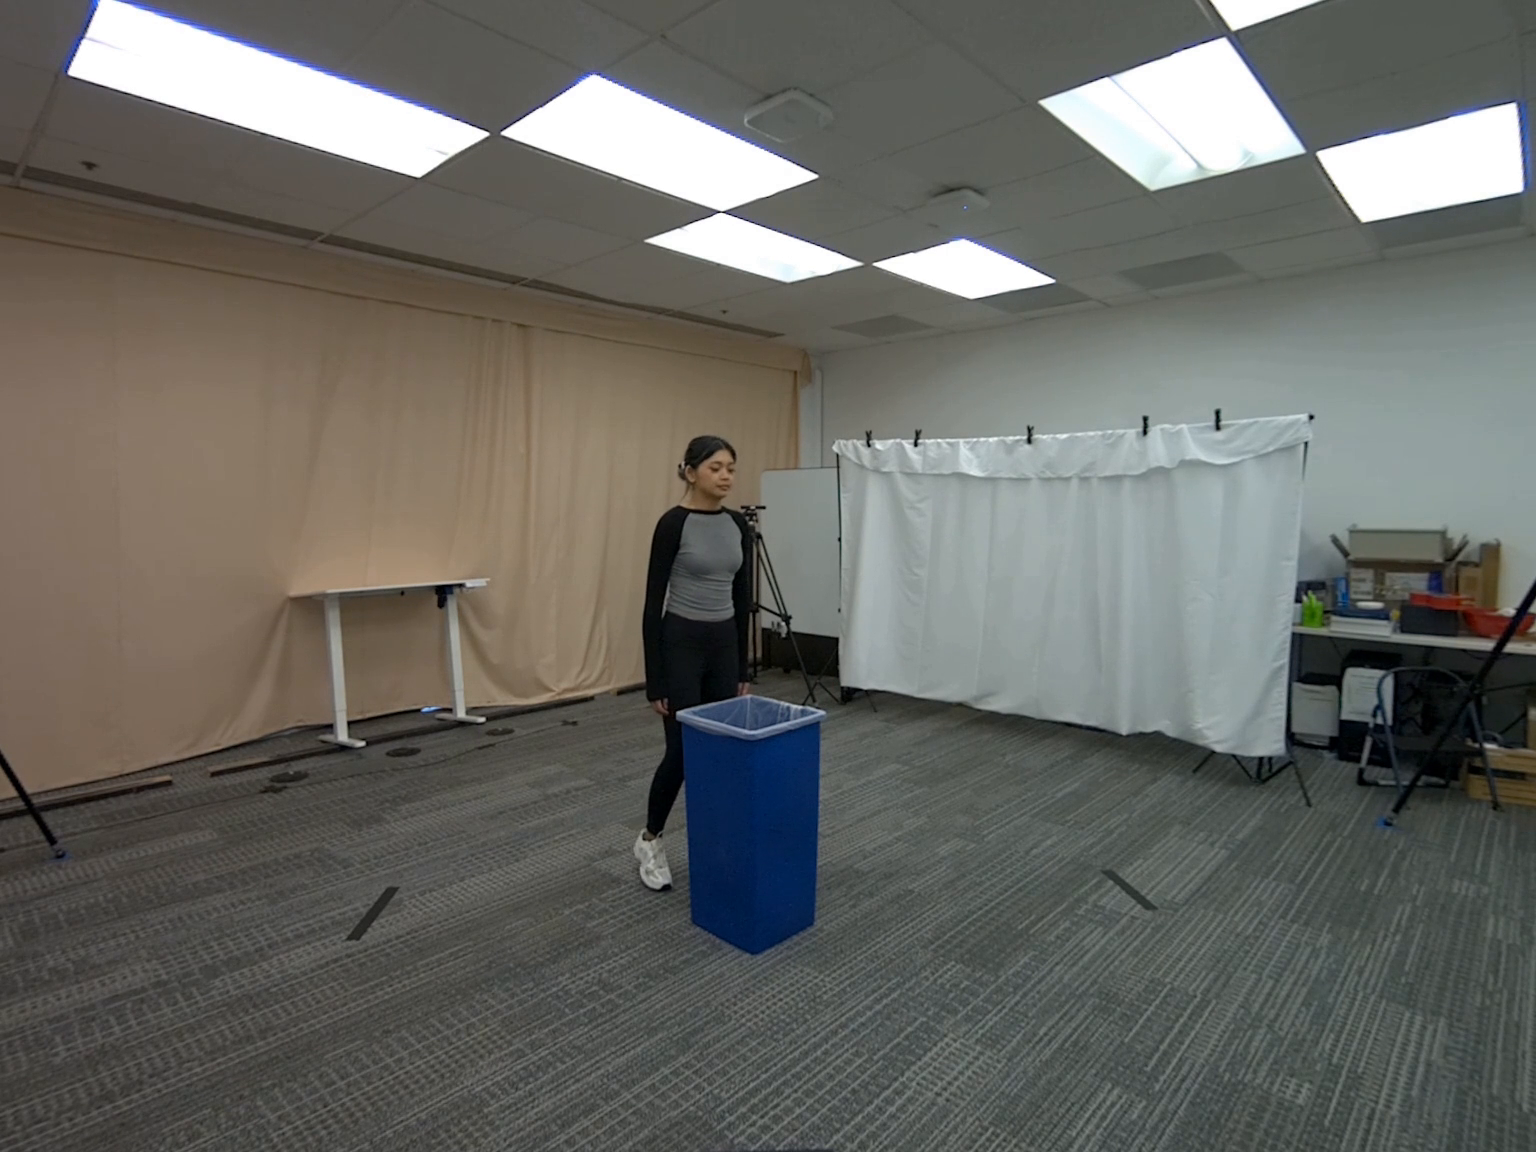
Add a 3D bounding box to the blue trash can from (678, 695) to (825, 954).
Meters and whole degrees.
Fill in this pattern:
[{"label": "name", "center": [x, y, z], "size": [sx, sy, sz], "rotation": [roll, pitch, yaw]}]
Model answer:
[{"label": "blue trash can", "center": [-0.048, 0.803, 2.784], "size": [0.391, 0.712, 0.362], "rotation": [3, 4, 45]}]
